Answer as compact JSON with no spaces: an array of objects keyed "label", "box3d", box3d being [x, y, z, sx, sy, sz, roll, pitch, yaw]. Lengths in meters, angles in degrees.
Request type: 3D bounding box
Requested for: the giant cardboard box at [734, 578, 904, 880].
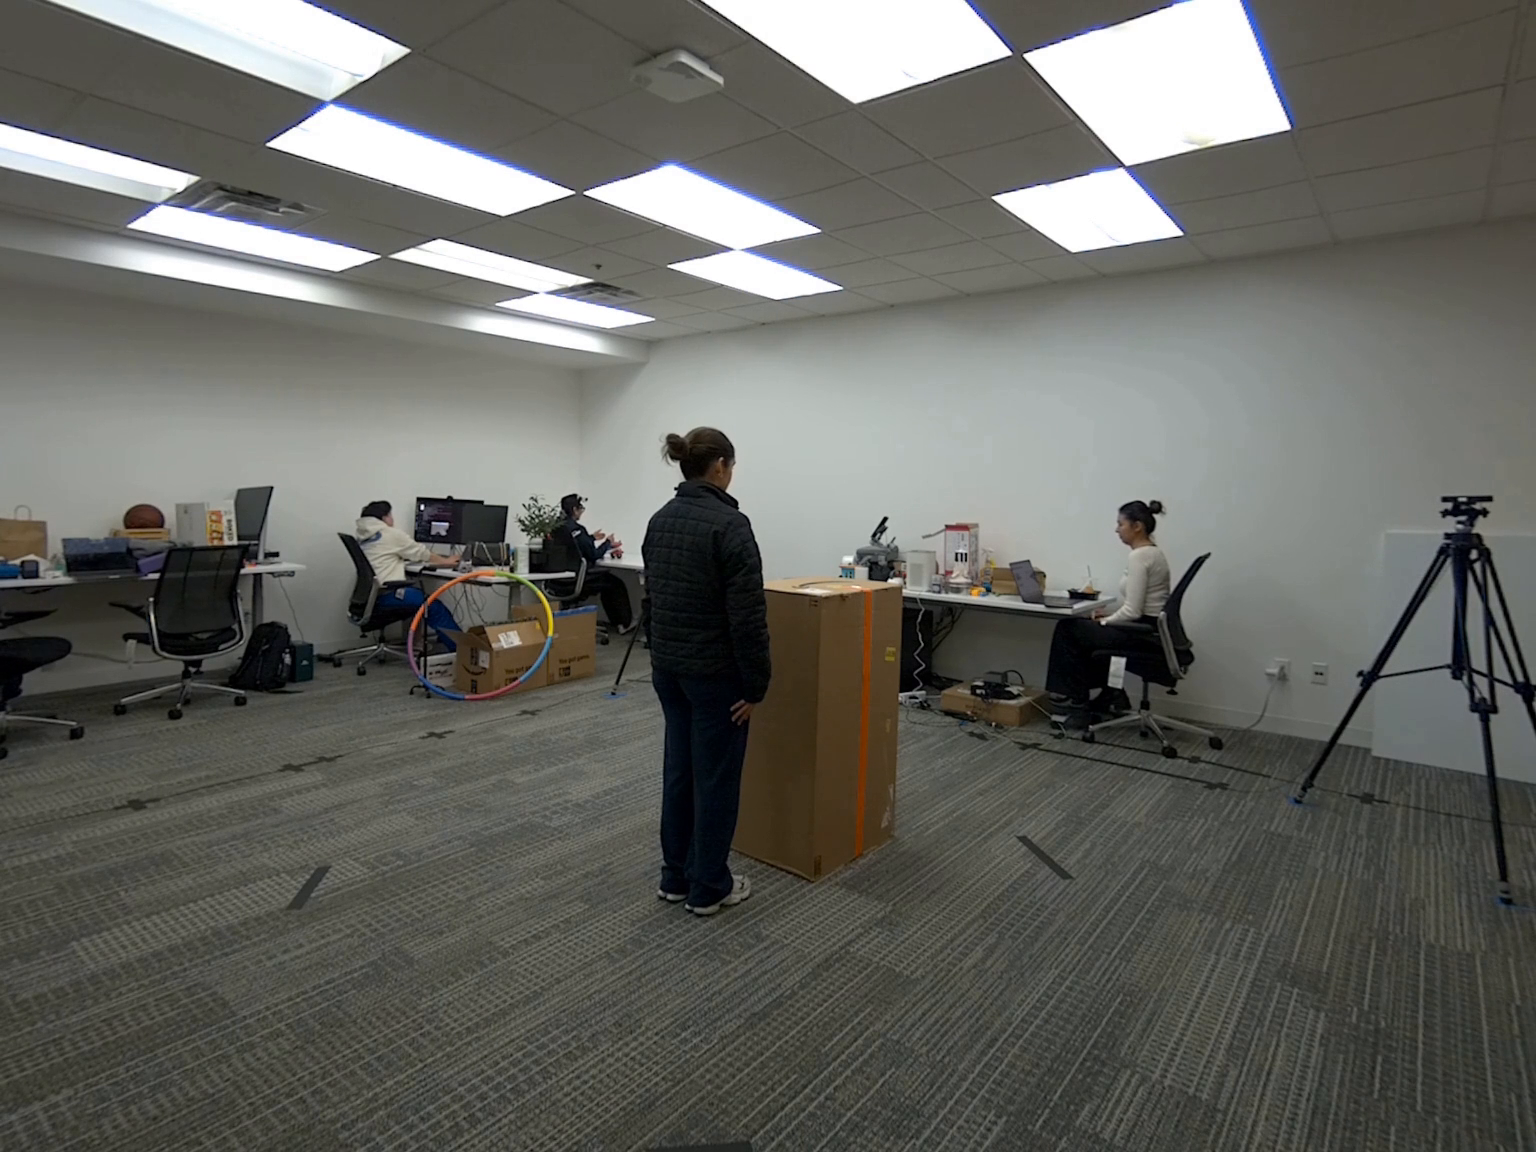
[{"label":"giant cardboard box","box3d":[0.208,0.540,3.351,0.440,1.023,0.560,4,4,40]}]
